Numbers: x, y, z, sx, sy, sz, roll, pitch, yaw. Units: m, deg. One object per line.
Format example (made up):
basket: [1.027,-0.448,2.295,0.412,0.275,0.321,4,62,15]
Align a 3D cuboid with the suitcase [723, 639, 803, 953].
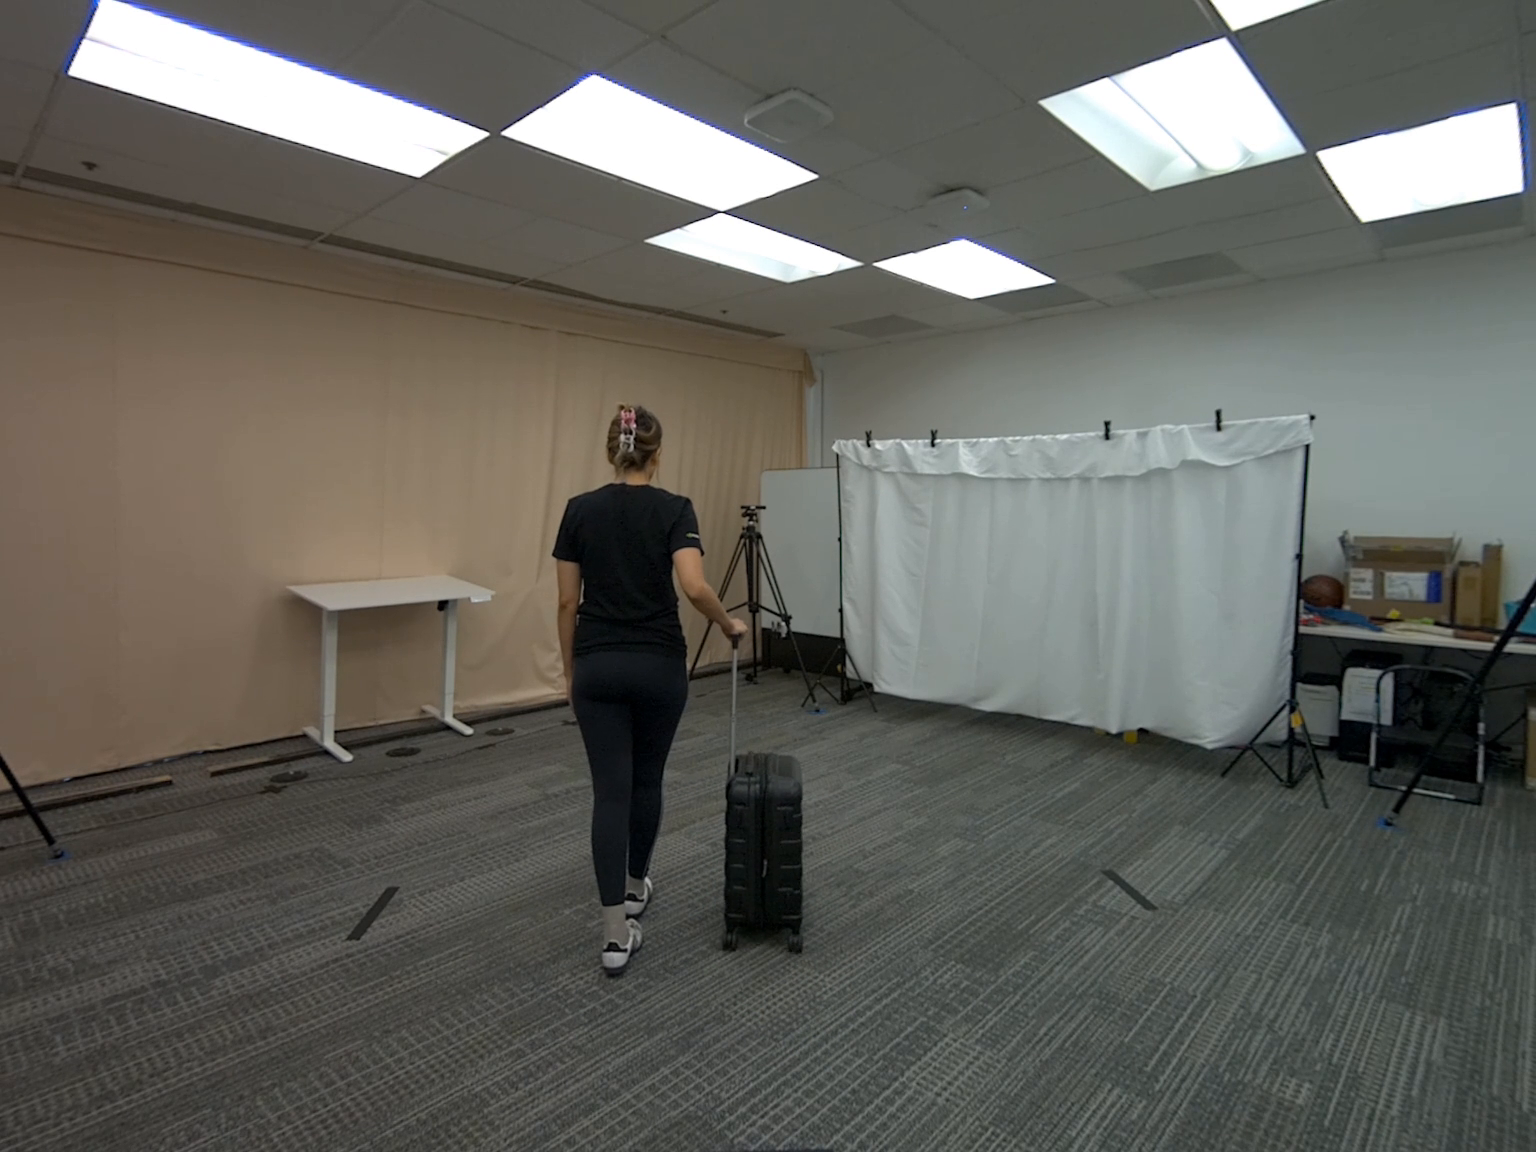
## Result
suitcase: [-0.004,0.683,2.787,0.257,0.977,0.384,3,2,-1]
